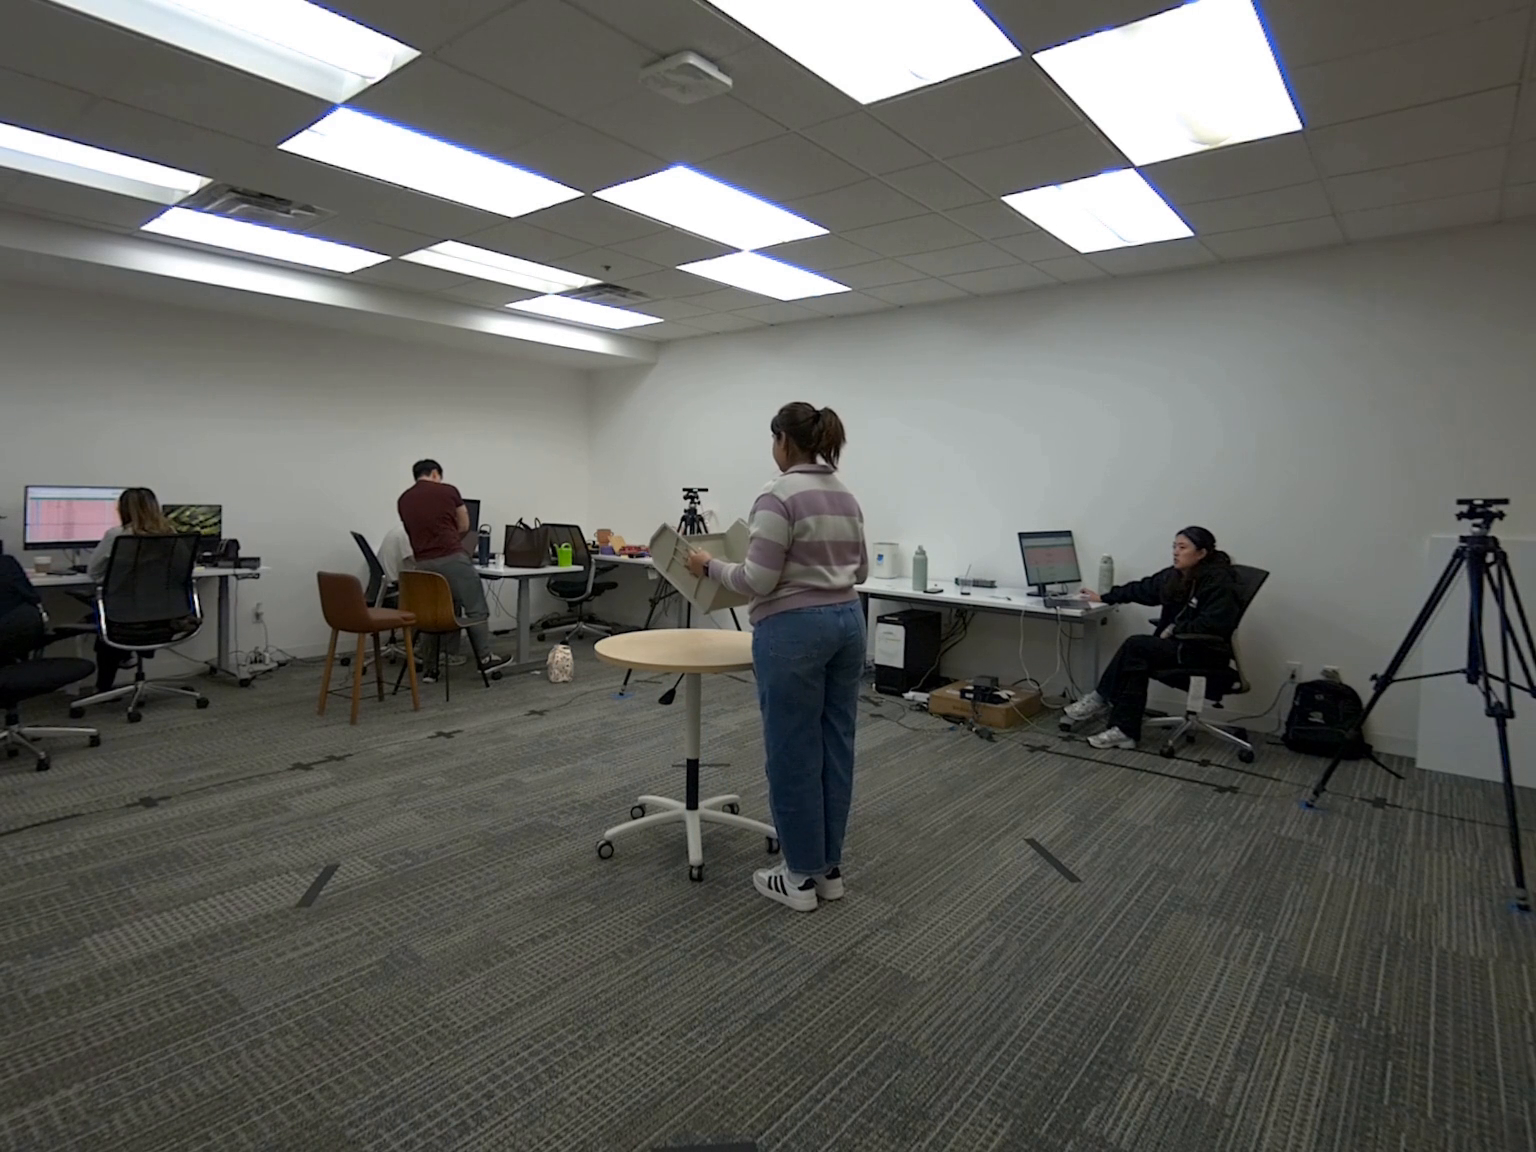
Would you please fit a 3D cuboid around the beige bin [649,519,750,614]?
[{"bbox_3d":[-0.192,-0.050,3.207,0.410,0.187,0.392,-6,39,-48],"label":"beige bin"}]
